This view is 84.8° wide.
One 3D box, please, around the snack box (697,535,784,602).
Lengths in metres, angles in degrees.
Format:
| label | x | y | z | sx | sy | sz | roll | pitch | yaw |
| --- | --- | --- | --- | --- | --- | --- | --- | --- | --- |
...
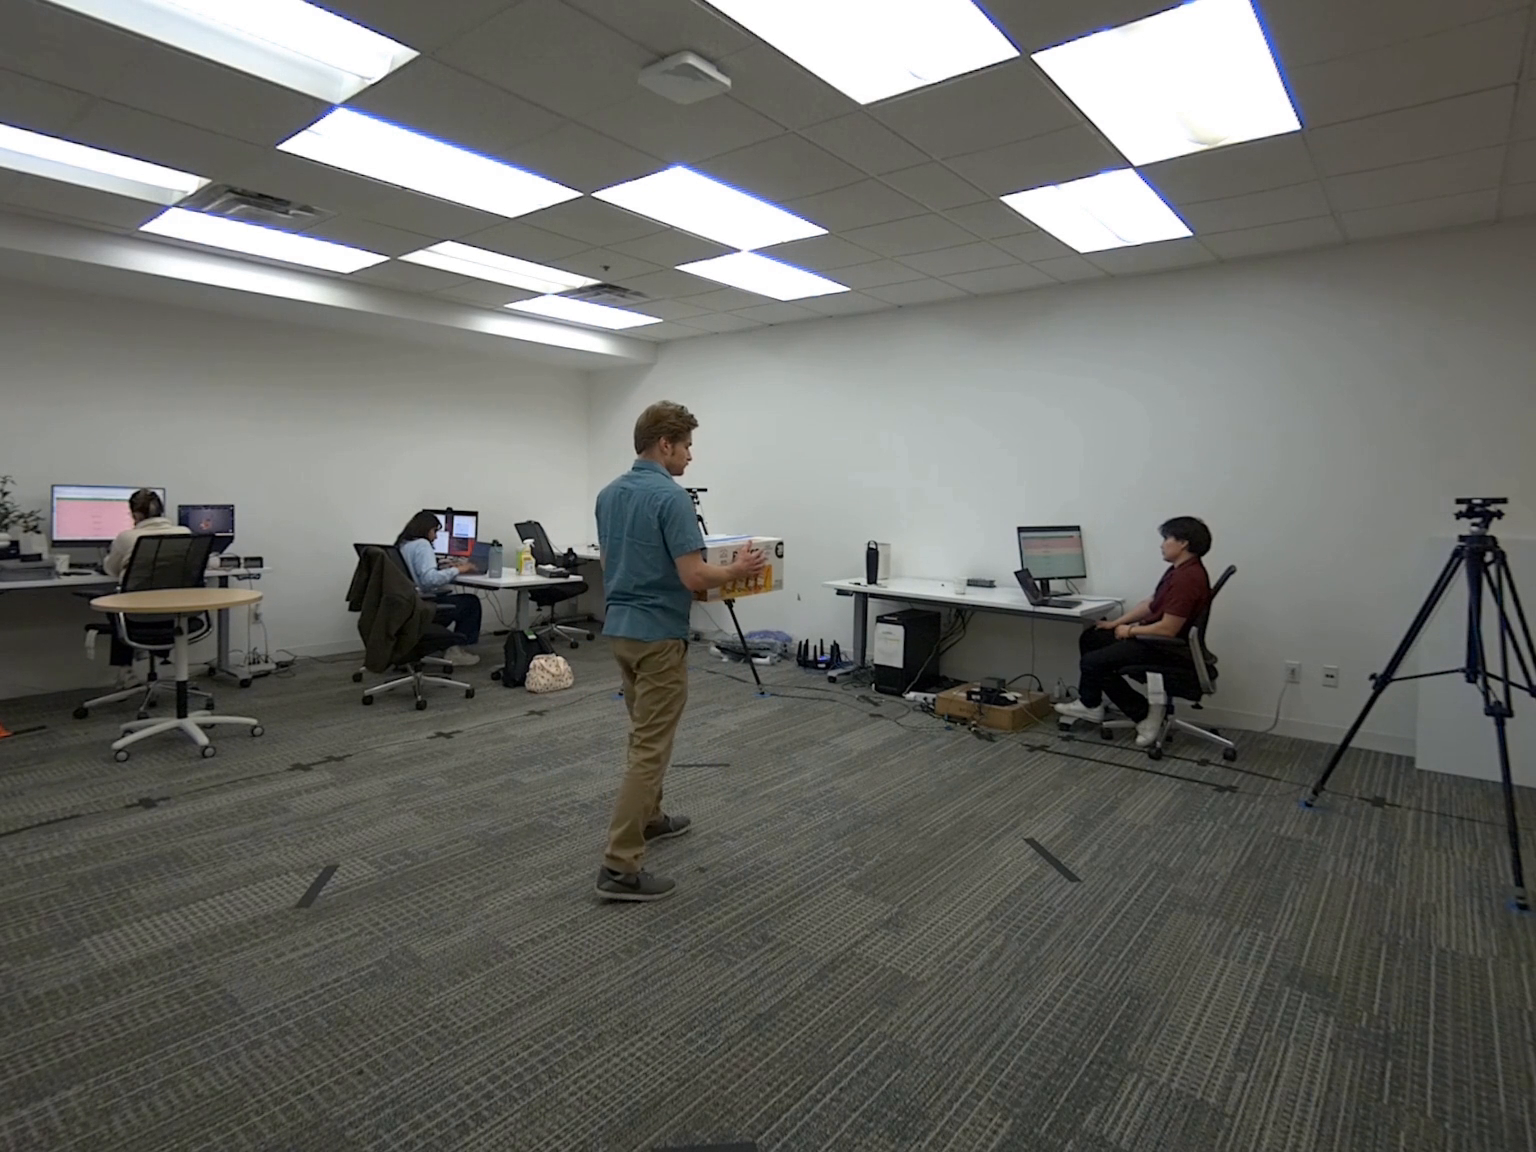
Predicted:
| label | x | y | z | sx | sy | sz | roll | pitch | yaw |
| --- | --- | --- | --- | --- | --- | --- | --- | --- | --- |
| snack box | -0.209 | -0.047 | 3.344 | 0.393 | 0.204 | 0.352 | -6 | 9 | -43 |
